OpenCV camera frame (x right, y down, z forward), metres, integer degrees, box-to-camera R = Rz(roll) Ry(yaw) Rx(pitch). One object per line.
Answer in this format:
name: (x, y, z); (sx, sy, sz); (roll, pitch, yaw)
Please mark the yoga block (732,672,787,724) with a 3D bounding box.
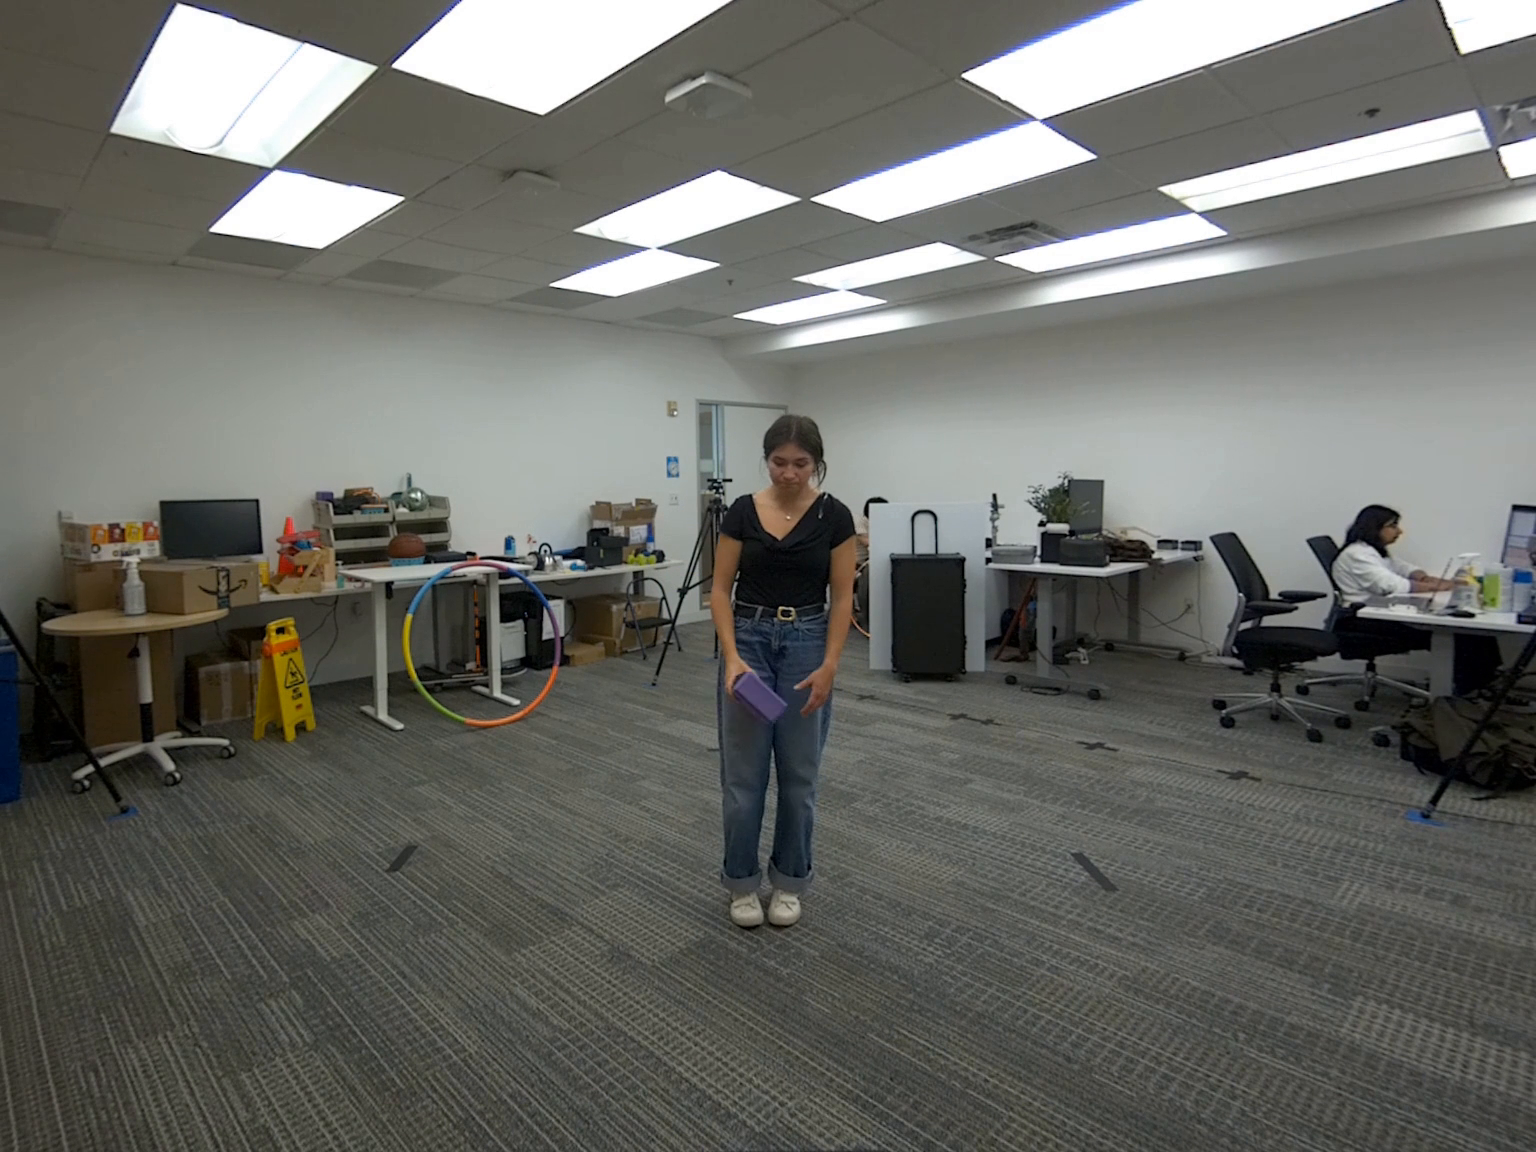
yoga block: (-0.023, 0.364, 2.518); (0.151, 0.076, 0.227); (42, -4, 7)
